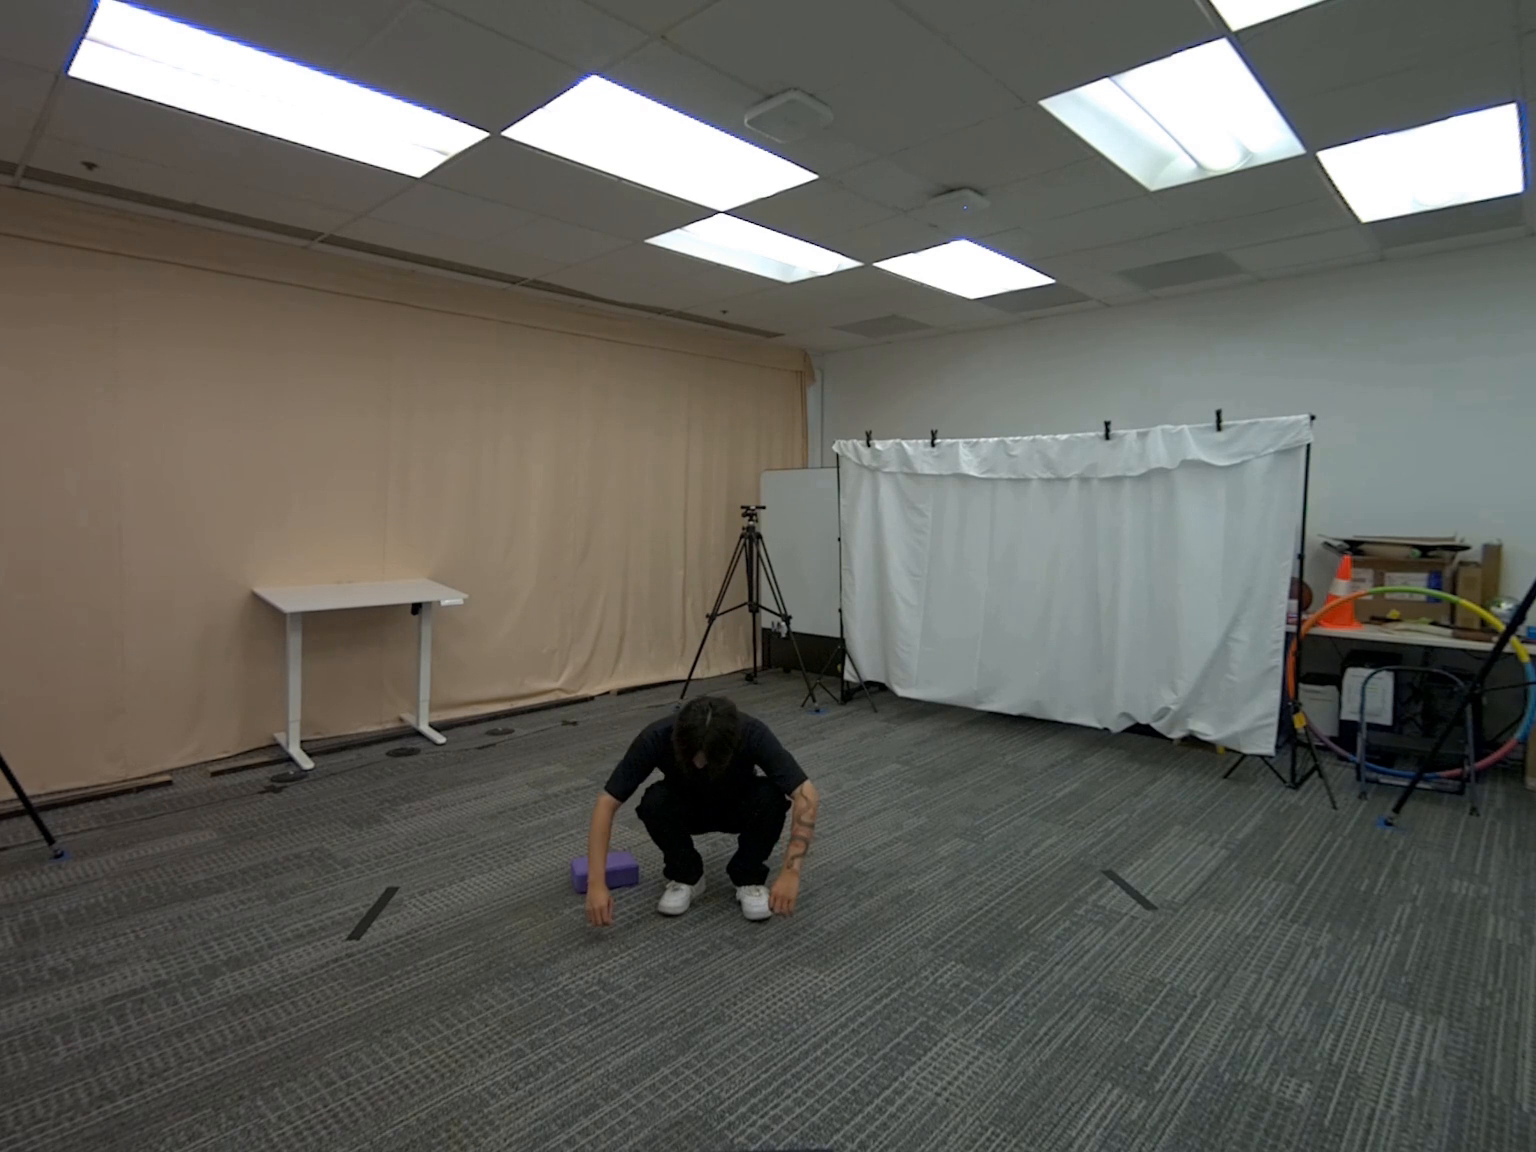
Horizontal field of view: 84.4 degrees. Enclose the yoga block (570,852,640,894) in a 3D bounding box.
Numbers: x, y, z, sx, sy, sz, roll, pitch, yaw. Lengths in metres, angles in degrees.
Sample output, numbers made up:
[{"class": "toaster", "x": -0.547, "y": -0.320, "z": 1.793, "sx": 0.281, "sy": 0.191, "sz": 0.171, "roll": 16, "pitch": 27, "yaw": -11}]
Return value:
[{"class": "yoga block", "x": -0.607, "y": 1.101, "z": 3.128, "sx": 0.225, "sy": 0.076, "sz": 0.152, "roll": -2, "pitch": 5, "yaw": -21}]
